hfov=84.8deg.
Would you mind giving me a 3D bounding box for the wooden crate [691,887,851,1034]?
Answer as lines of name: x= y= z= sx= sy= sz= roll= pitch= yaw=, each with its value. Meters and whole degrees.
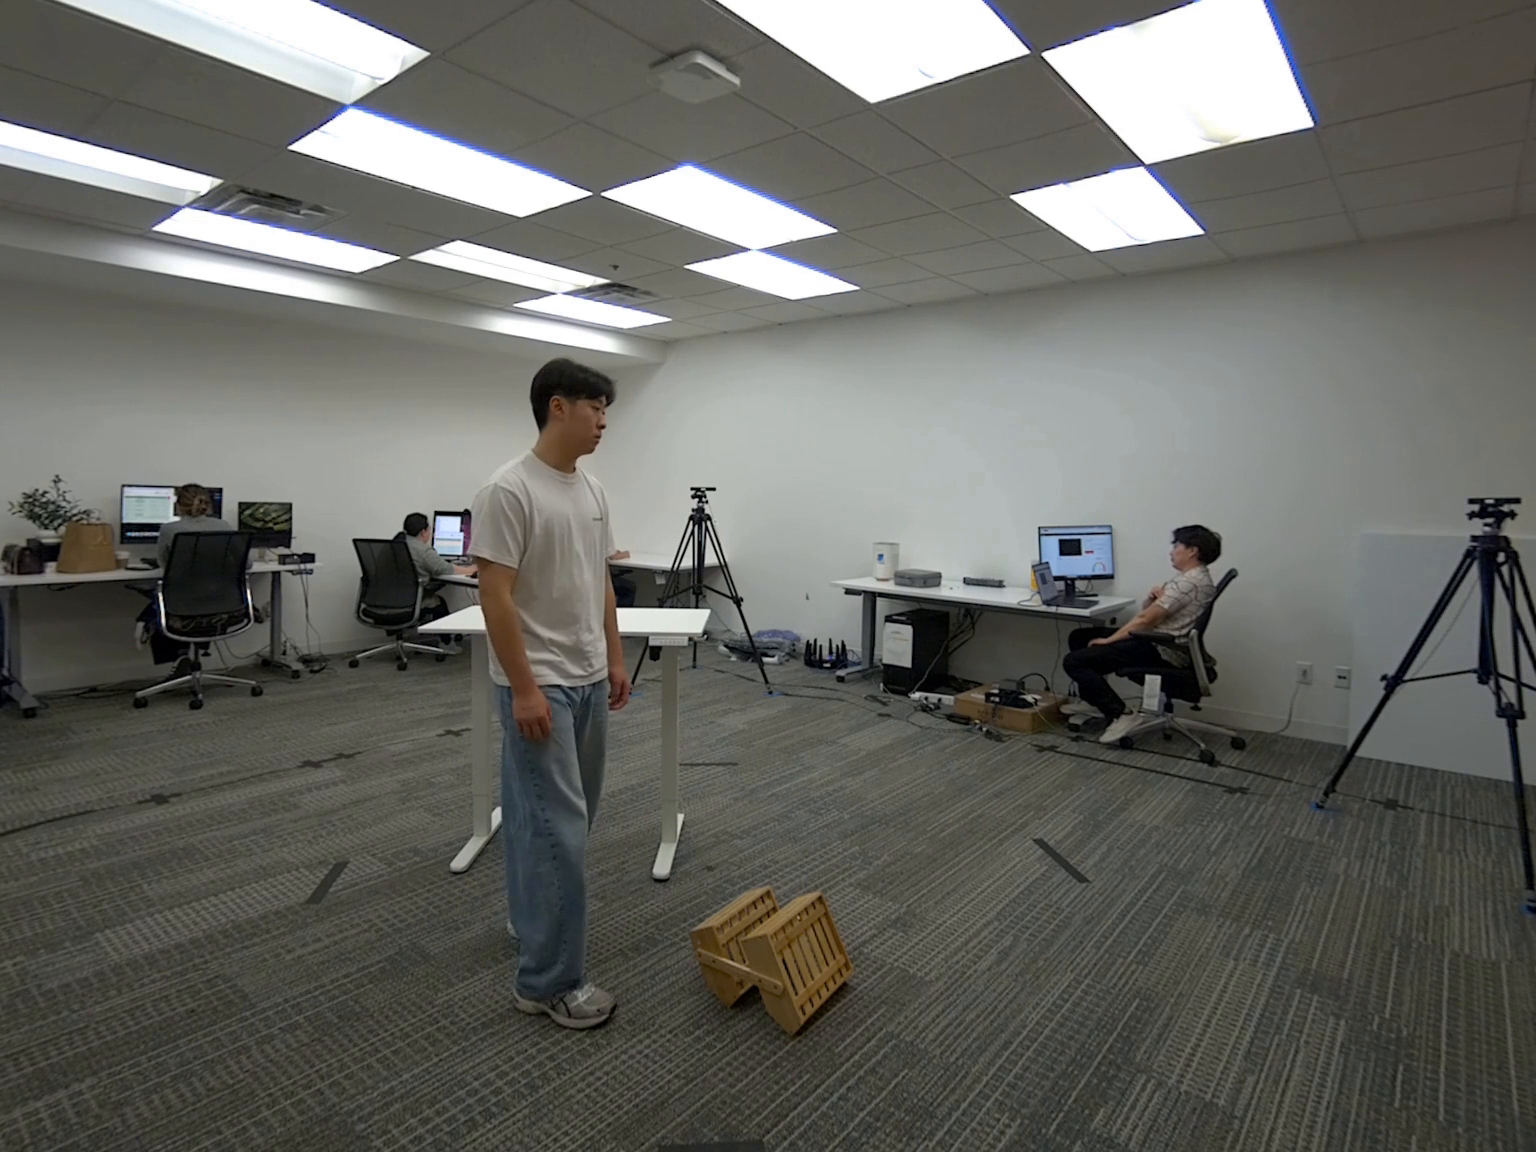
wooden crate: x=0.006 y=1.062 z=2.362 sx=0.276 sy=0.307 sz=0.315 roll=-29 pitch=-13 yaw=31
